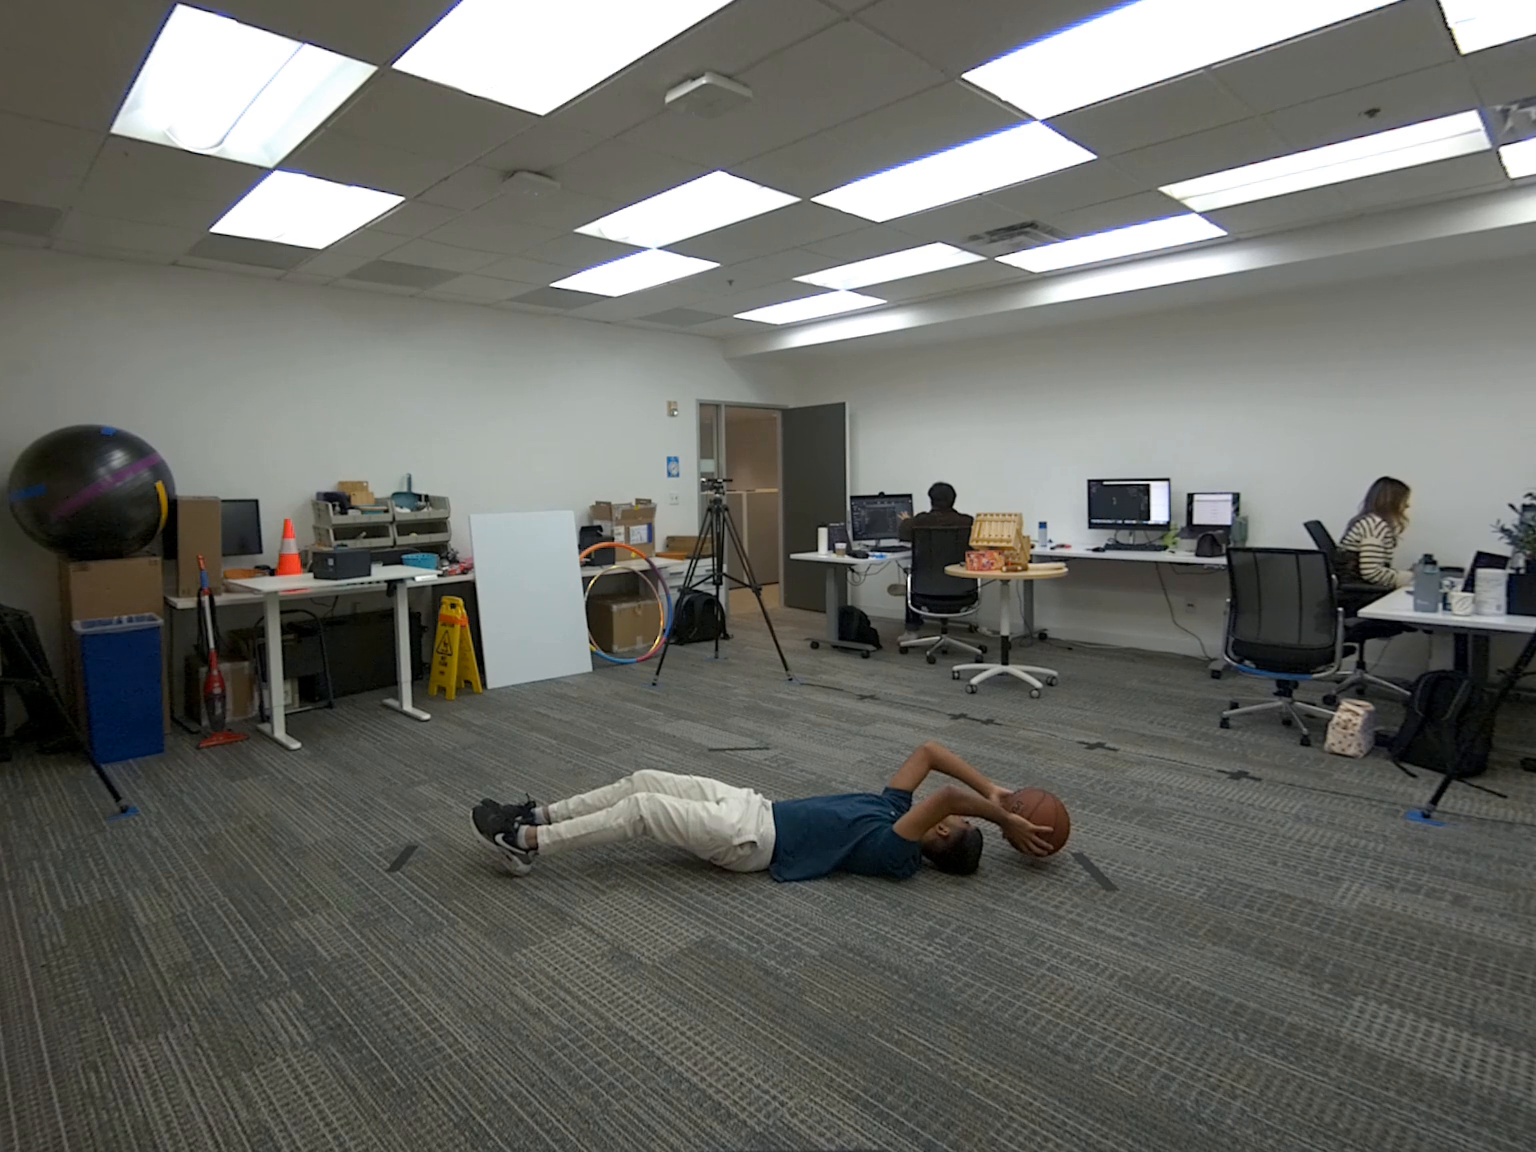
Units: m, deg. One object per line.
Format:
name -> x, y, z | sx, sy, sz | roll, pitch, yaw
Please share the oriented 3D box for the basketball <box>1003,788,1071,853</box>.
basketball -> 0.972, 0.888, 3.078 | 0.236, 0.235, 0.237 | -1, 5, -2
